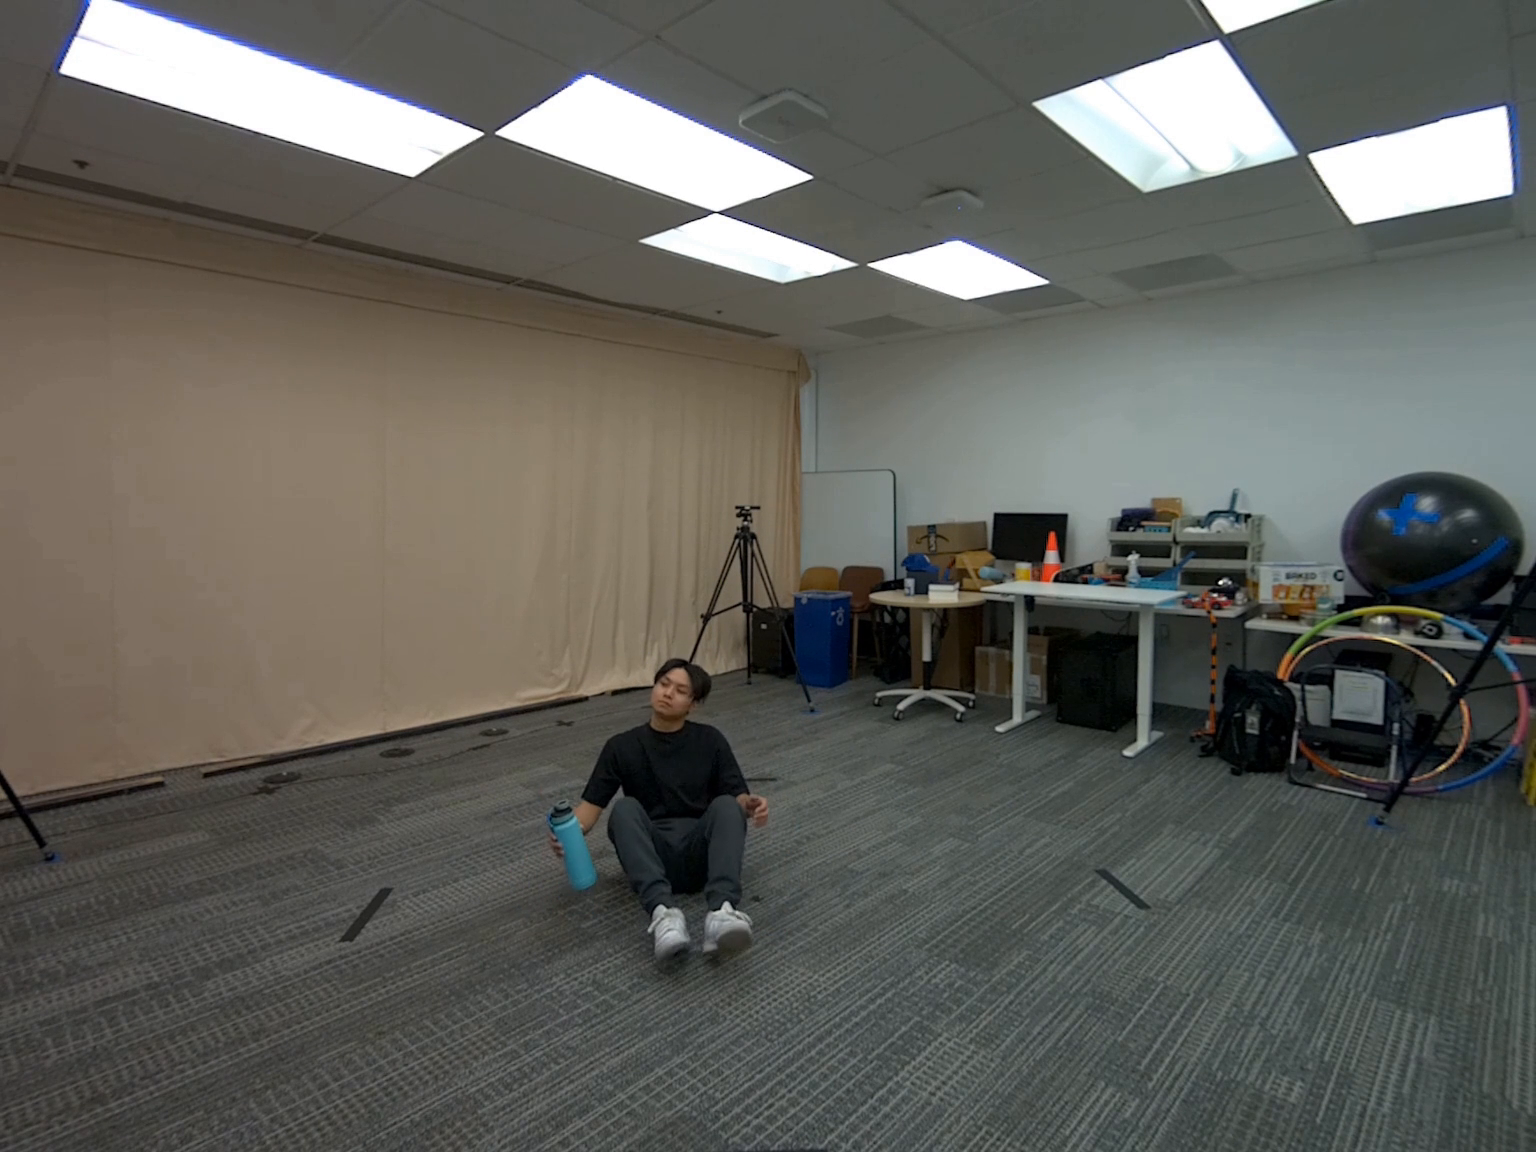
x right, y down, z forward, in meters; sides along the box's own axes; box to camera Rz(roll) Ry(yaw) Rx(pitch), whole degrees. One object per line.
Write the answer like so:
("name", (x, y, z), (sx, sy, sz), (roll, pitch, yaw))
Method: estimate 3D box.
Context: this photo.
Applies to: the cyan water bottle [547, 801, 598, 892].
("cyan water bottle", (-0.644, 0.883, 2.765), (0.092, 0.281, 0.093), (-21, 8, 2))
